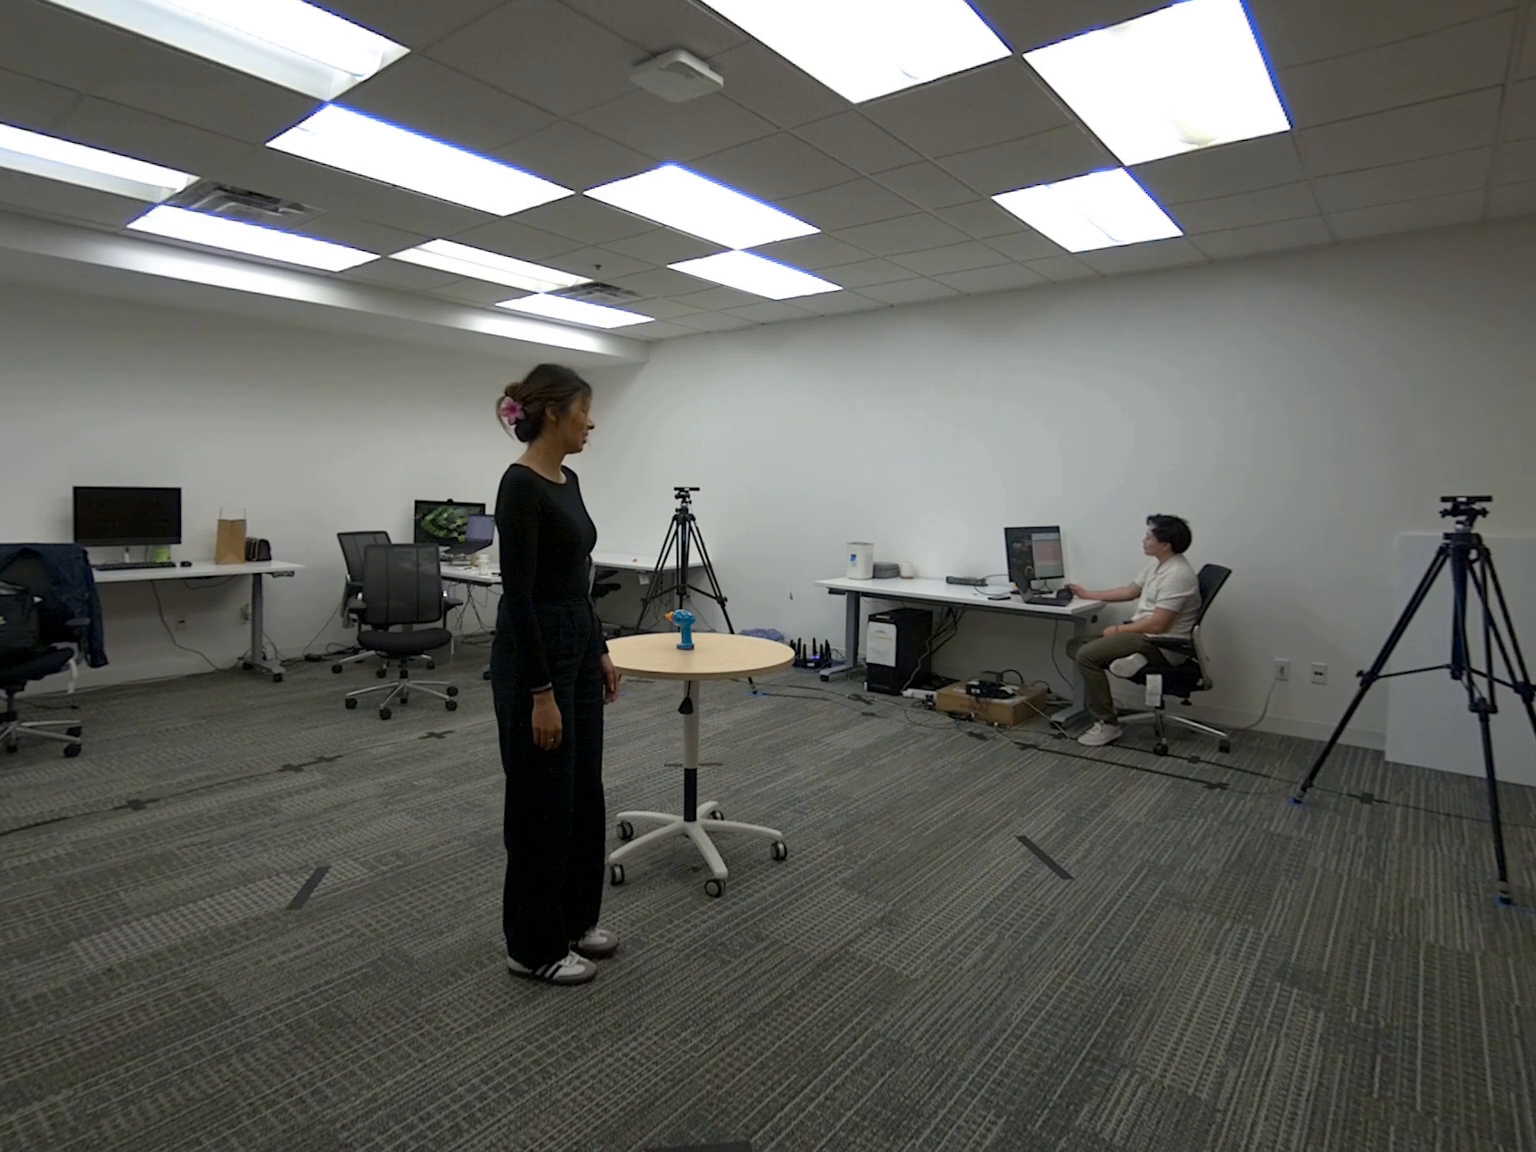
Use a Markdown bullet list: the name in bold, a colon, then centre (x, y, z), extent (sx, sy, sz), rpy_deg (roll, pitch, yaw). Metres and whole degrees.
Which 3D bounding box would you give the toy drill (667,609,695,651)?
- **toy drill**: centre (-0.352, 0.195, 3.225), extent (0.176, 0.145, 0.059), rpy_deg (6, 7, 44)
